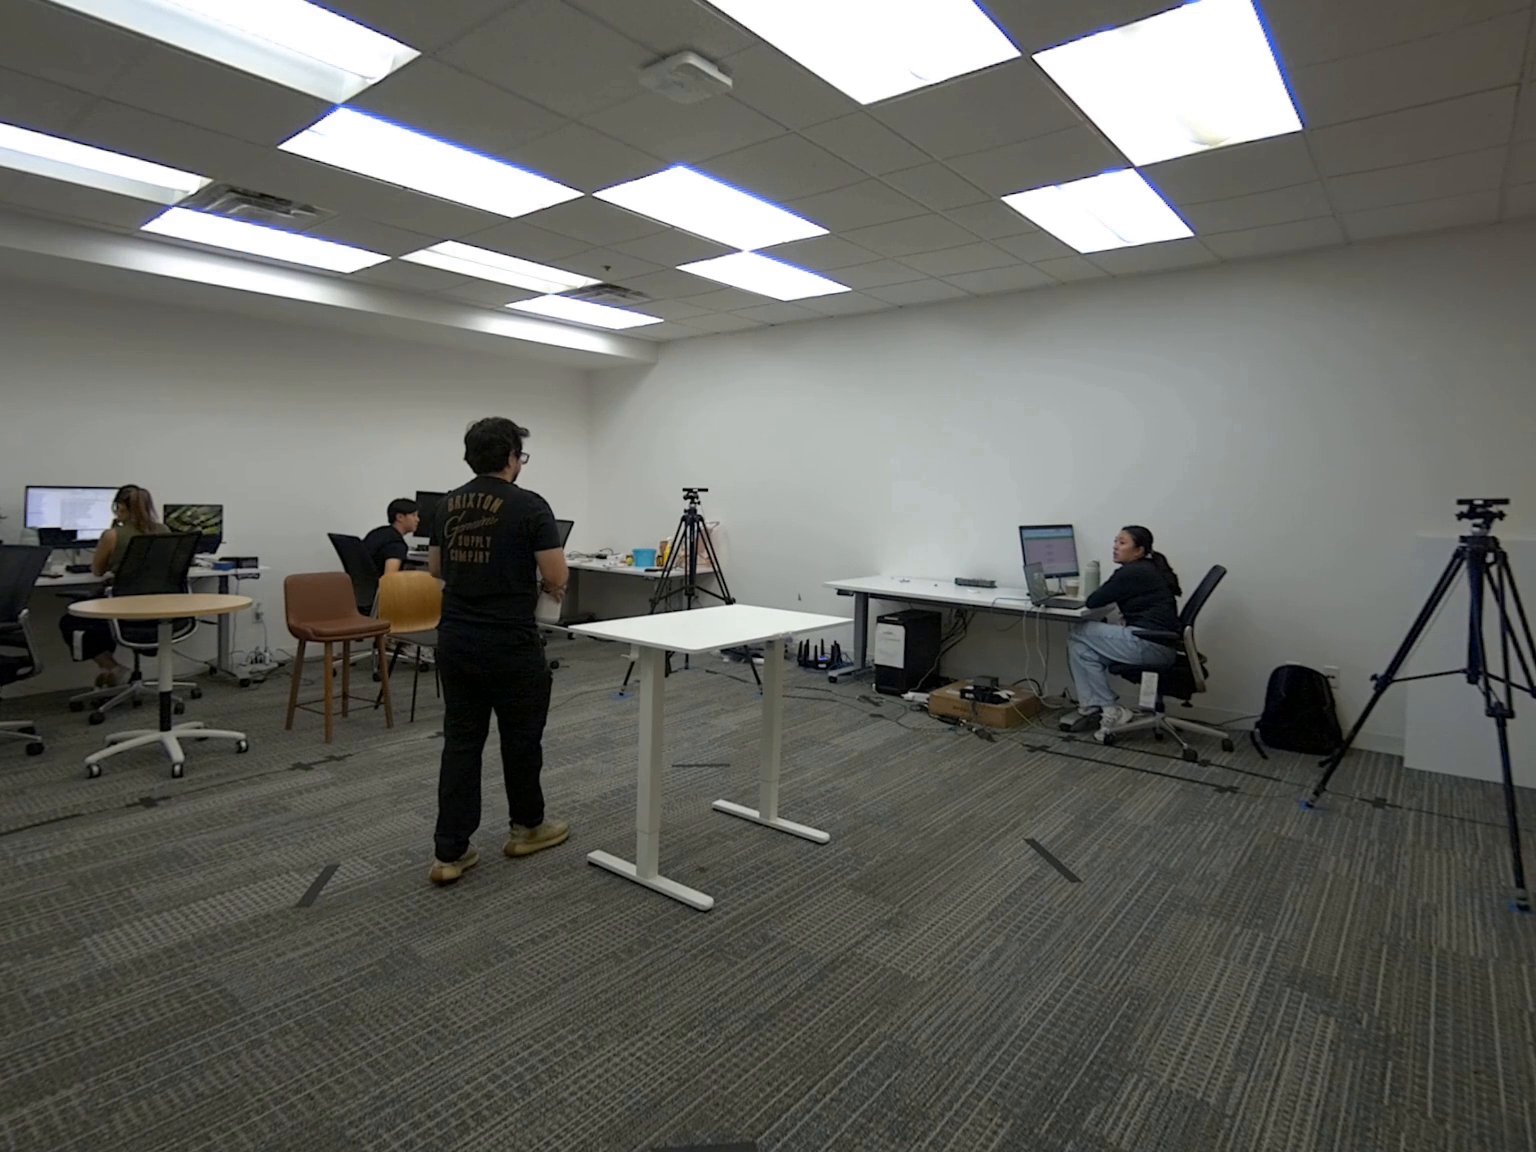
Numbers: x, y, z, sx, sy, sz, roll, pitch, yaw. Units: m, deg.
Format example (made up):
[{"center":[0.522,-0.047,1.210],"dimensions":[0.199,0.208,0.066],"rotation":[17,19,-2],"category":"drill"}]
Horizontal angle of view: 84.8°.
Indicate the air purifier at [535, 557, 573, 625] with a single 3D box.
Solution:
[{"center":[-0.924,0.049,3.394],"dimensions":[0.175,0.267,0.167],"rotation":[2,-7,20],"category":"air purifier"}]
